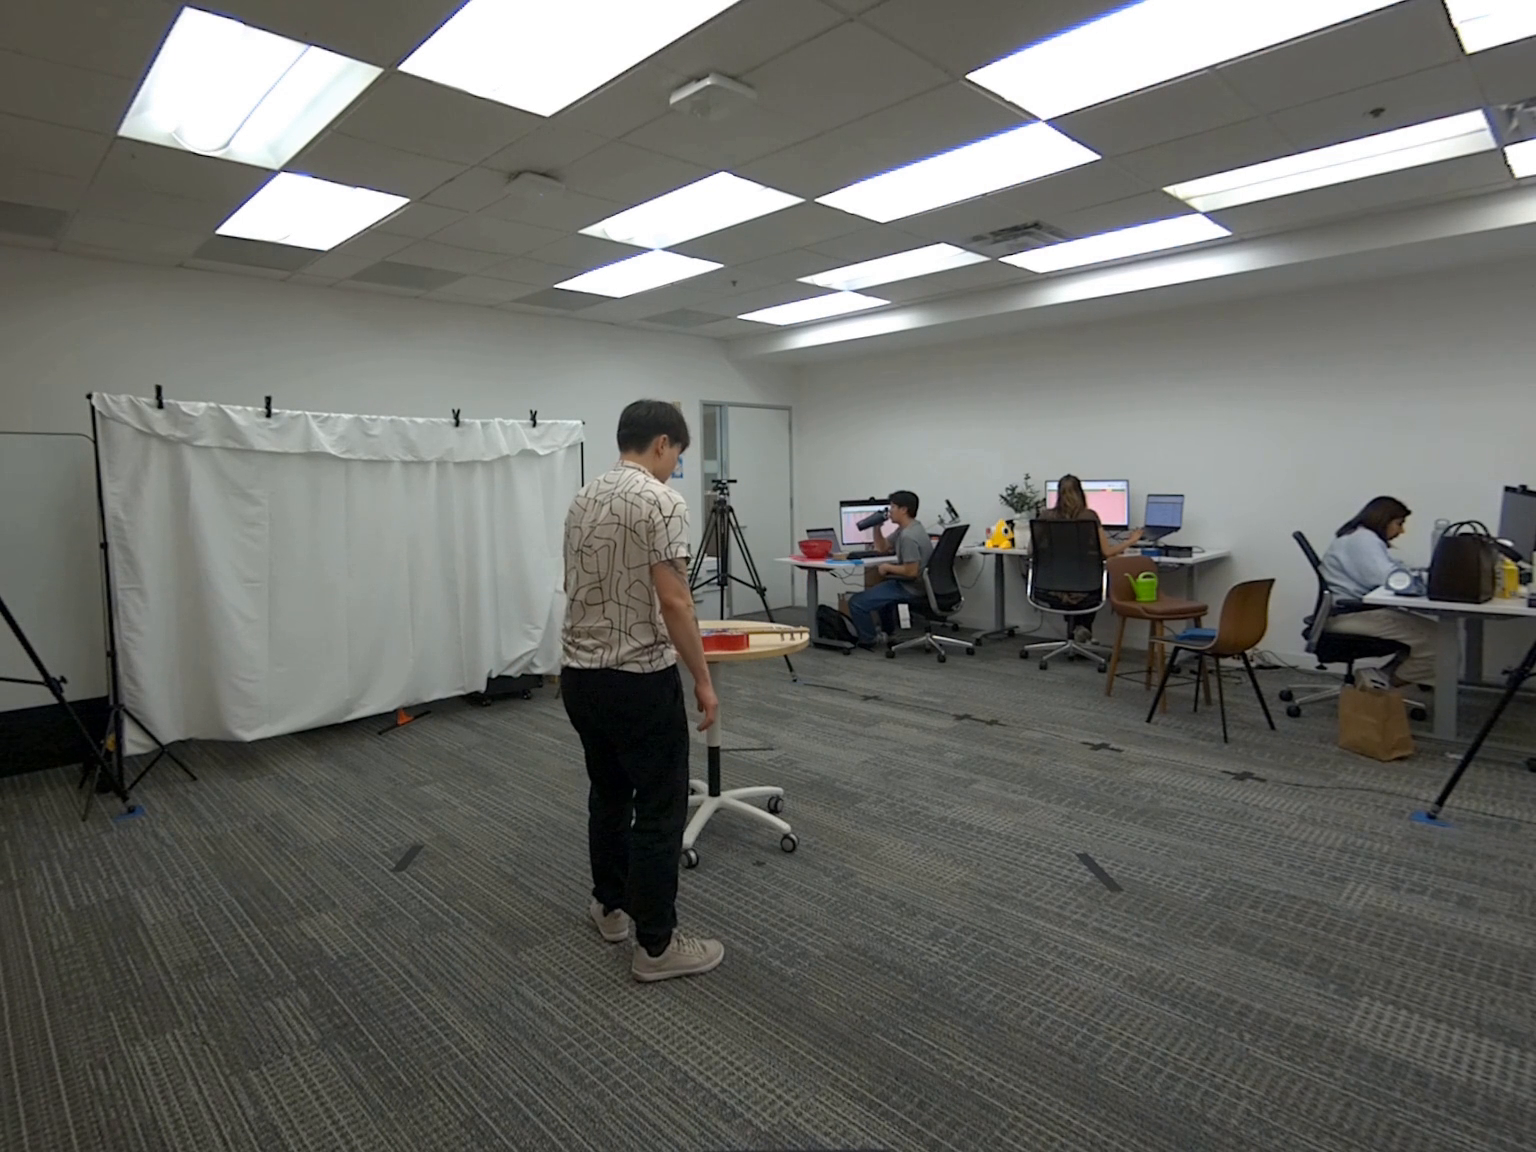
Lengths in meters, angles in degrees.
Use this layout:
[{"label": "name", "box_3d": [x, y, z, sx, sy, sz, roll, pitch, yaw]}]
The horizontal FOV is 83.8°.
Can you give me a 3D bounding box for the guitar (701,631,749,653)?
[{"label": "guitar", "box_3d": [-0.103, 0.234, 3.093, 0.500, 0.070, 0.193, -1, 5, 4]}]
